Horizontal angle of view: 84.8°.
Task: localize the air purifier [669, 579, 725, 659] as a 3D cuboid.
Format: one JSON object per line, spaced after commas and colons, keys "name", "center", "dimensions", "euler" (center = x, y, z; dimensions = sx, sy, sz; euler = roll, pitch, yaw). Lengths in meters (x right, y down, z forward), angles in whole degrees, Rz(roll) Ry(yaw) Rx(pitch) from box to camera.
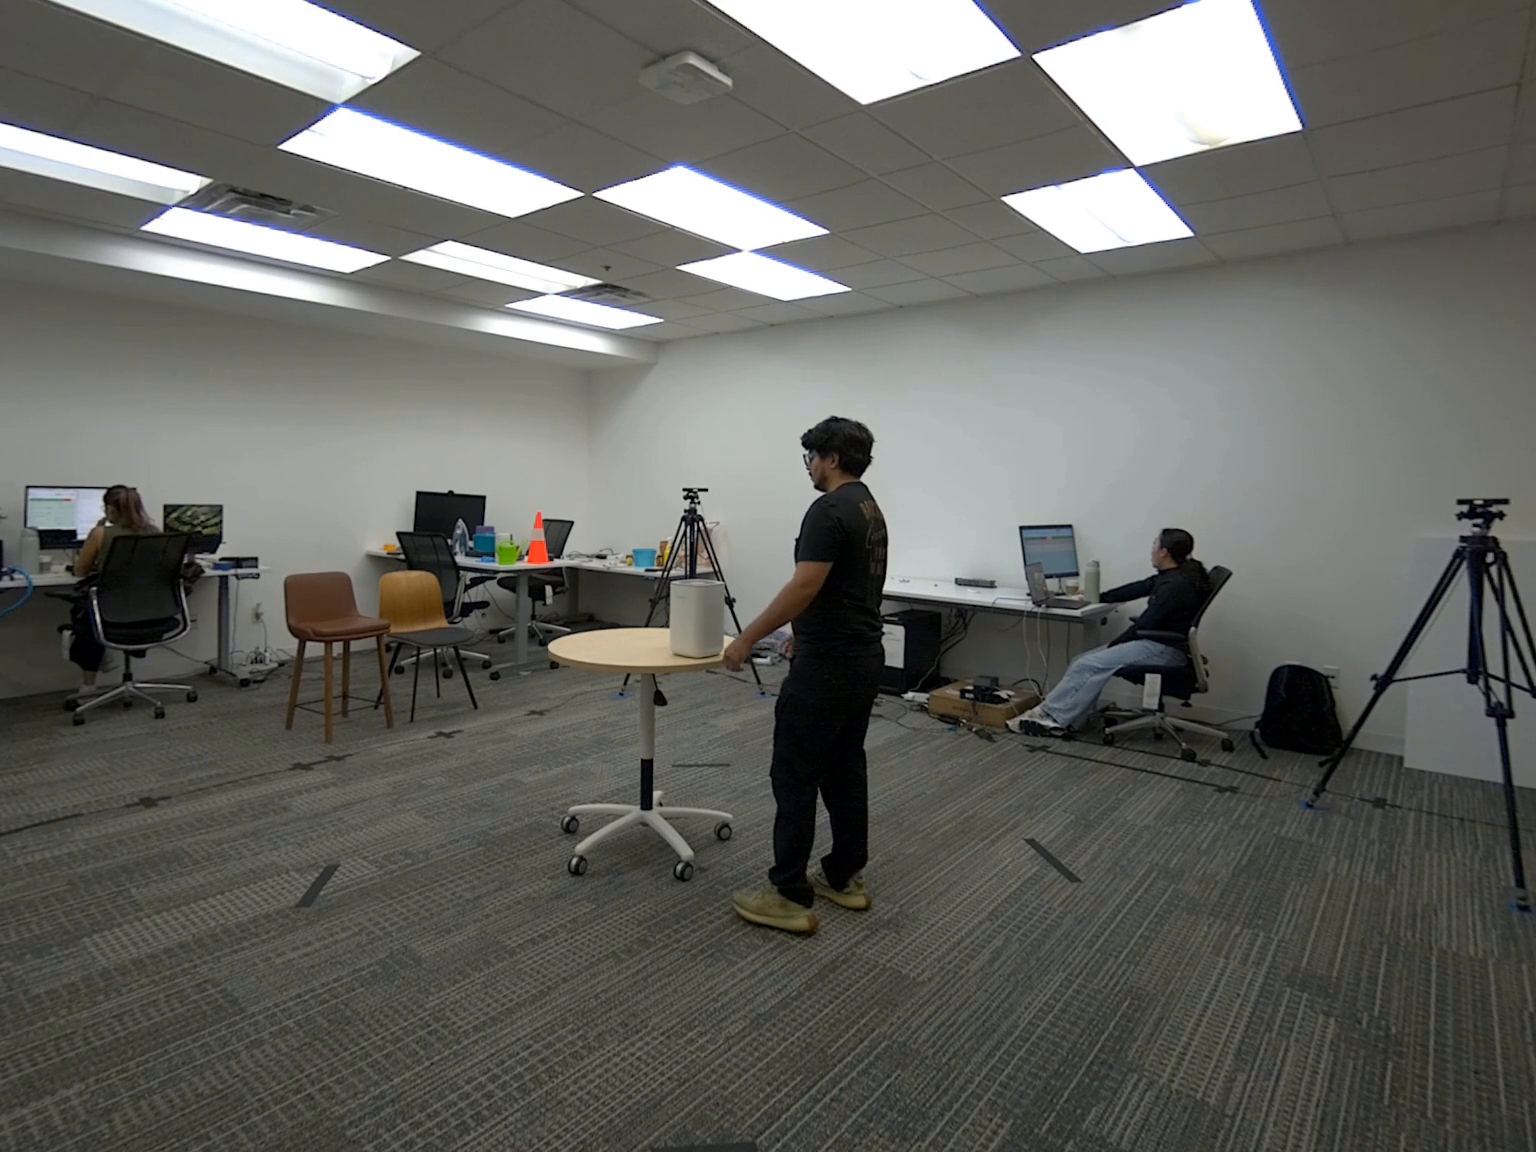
{"name": "air purifier", "center": [-0.275, 0.154, 3.120], "dimensions": [0.177, 0.264, 0.167], "euler": [3, 6, 39]}
